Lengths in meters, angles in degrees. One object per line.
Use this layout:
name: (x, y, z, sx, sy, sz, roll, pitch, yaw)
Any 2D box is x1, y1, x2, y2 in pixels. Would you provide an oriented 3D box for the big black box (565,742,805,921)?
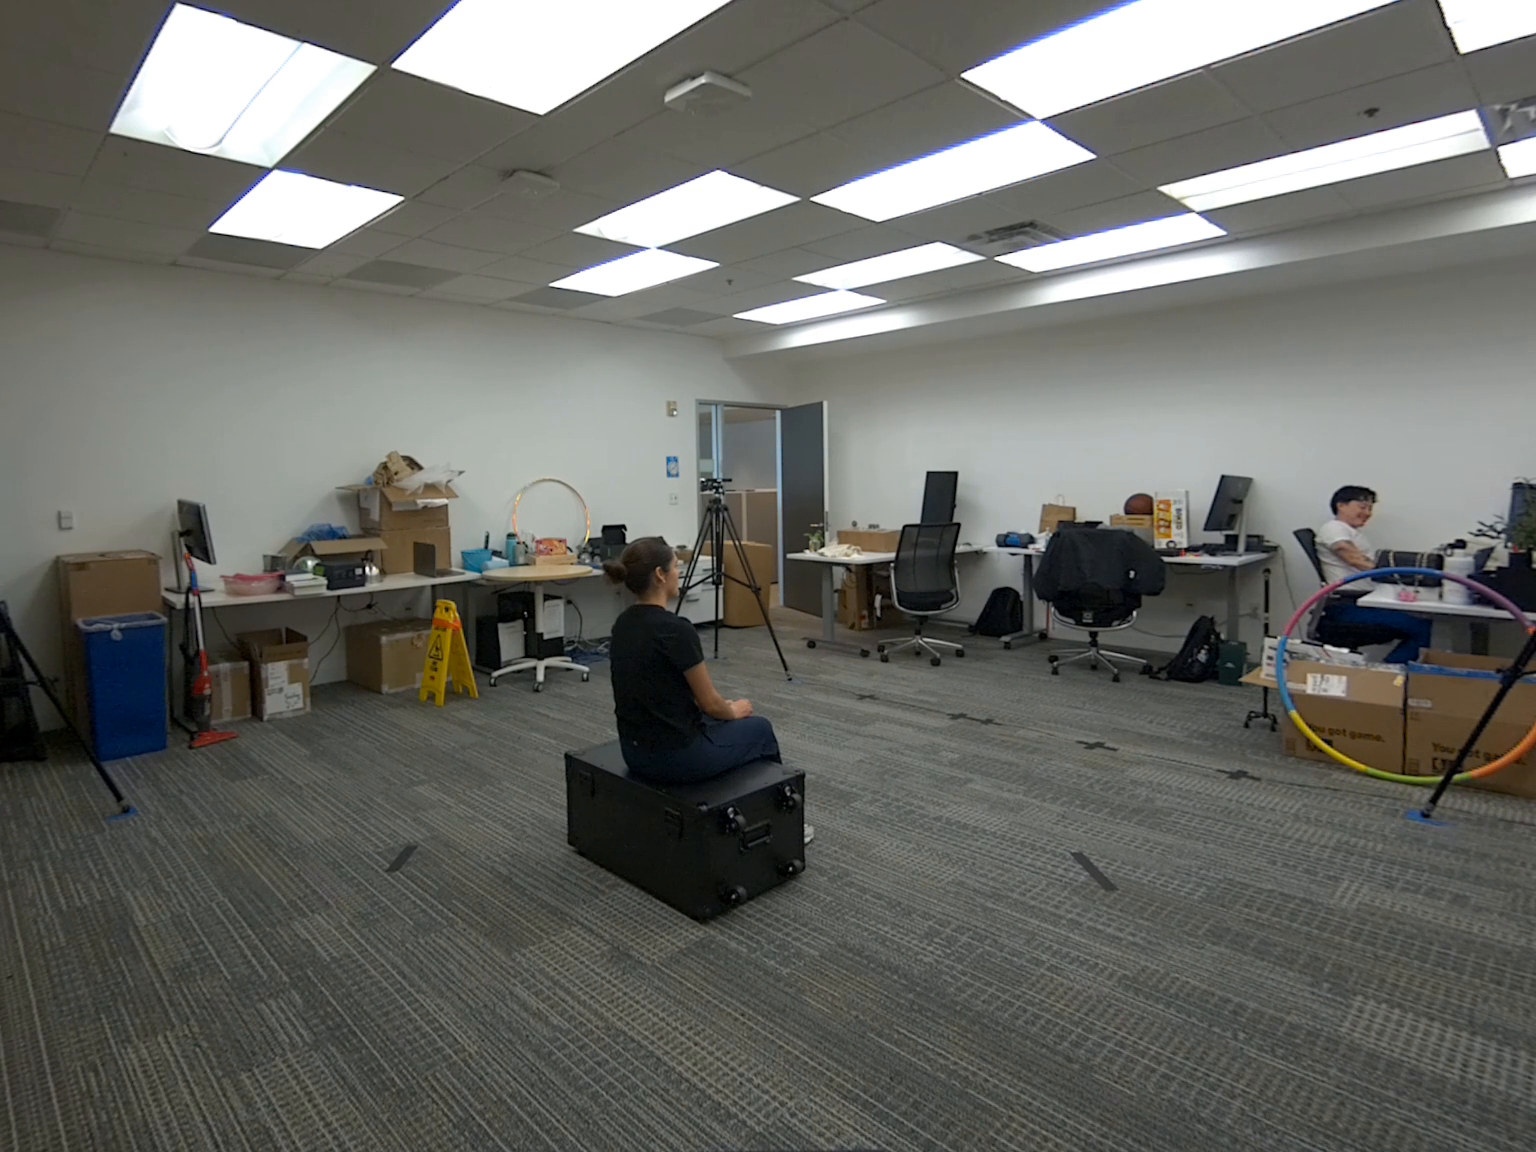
big black box: (-0.297, 0.863, 3.092, 0.508, 0.394, 0.888, -7, 8, -44)
